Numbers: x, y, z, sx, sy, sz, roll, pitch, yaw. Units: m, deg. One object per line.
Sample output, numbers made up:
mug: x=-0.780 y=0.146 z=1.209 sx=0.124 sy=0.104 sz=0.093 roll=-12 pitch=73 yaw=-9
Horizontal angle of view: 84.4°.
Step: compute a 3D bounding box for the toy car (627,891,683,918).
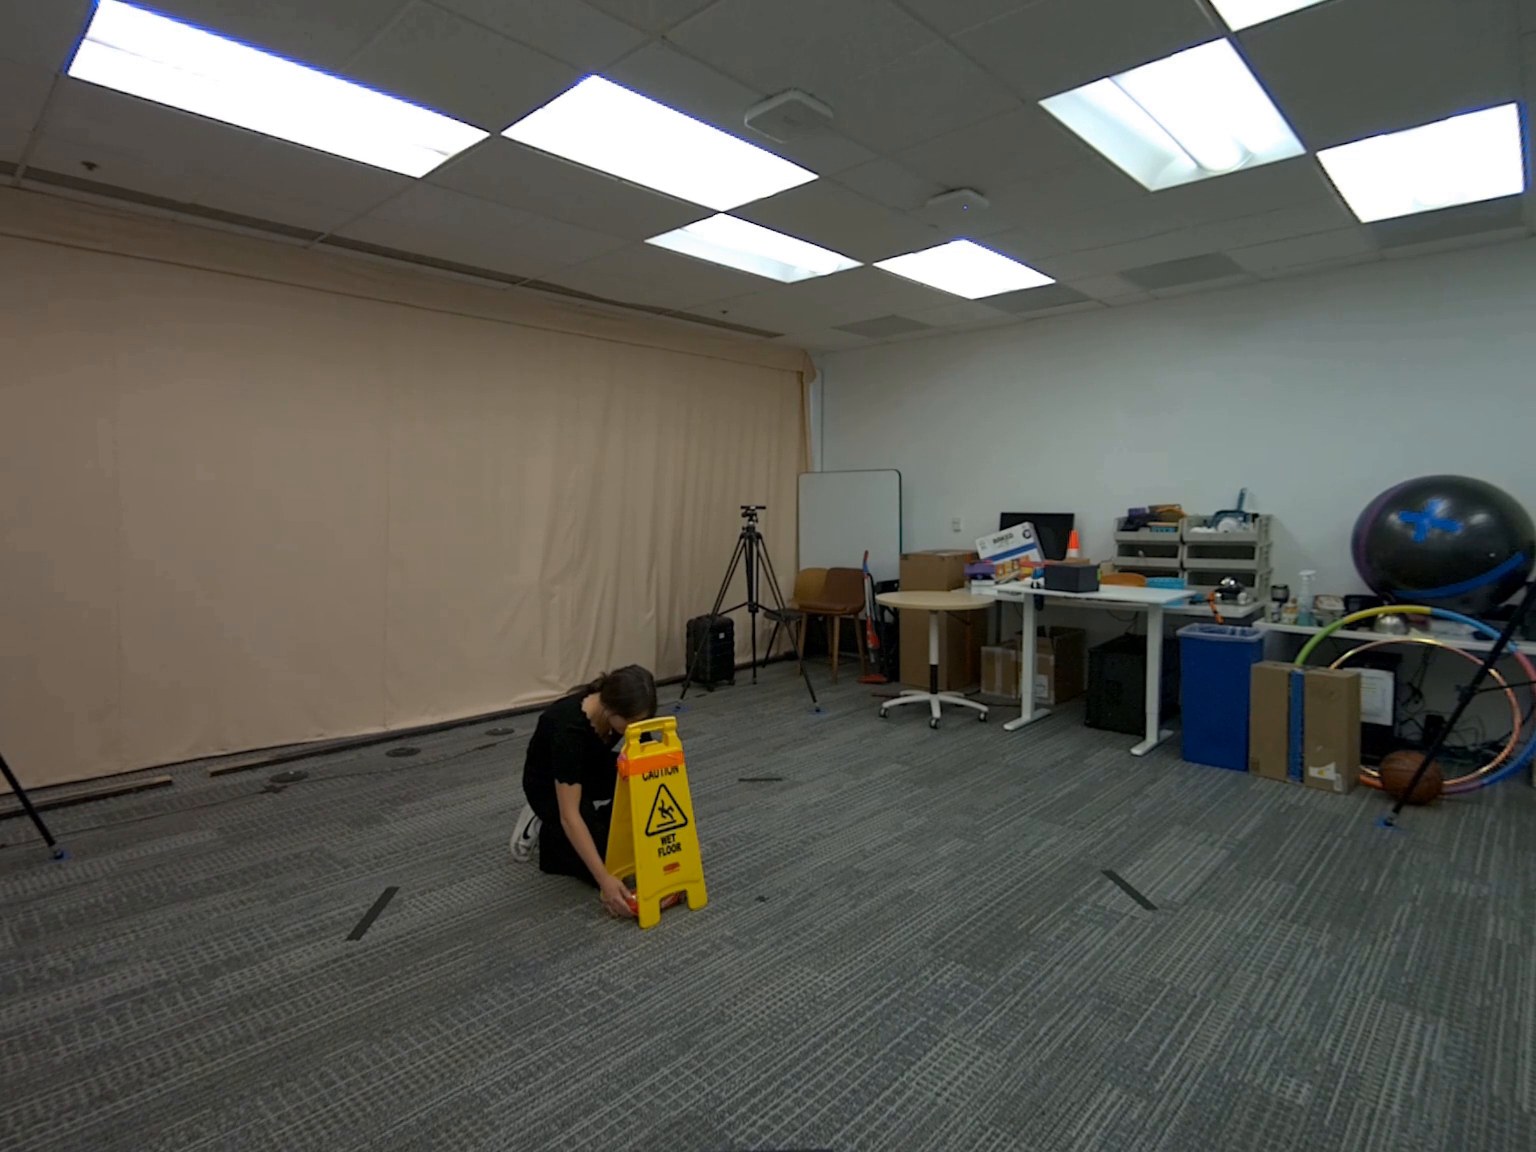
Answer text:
toy car: x=-0.402 y=1.115 z=2.915 sx=0.135 sy=0.083 sz=0.246 roll=6 pitch=-2 yaw=43
